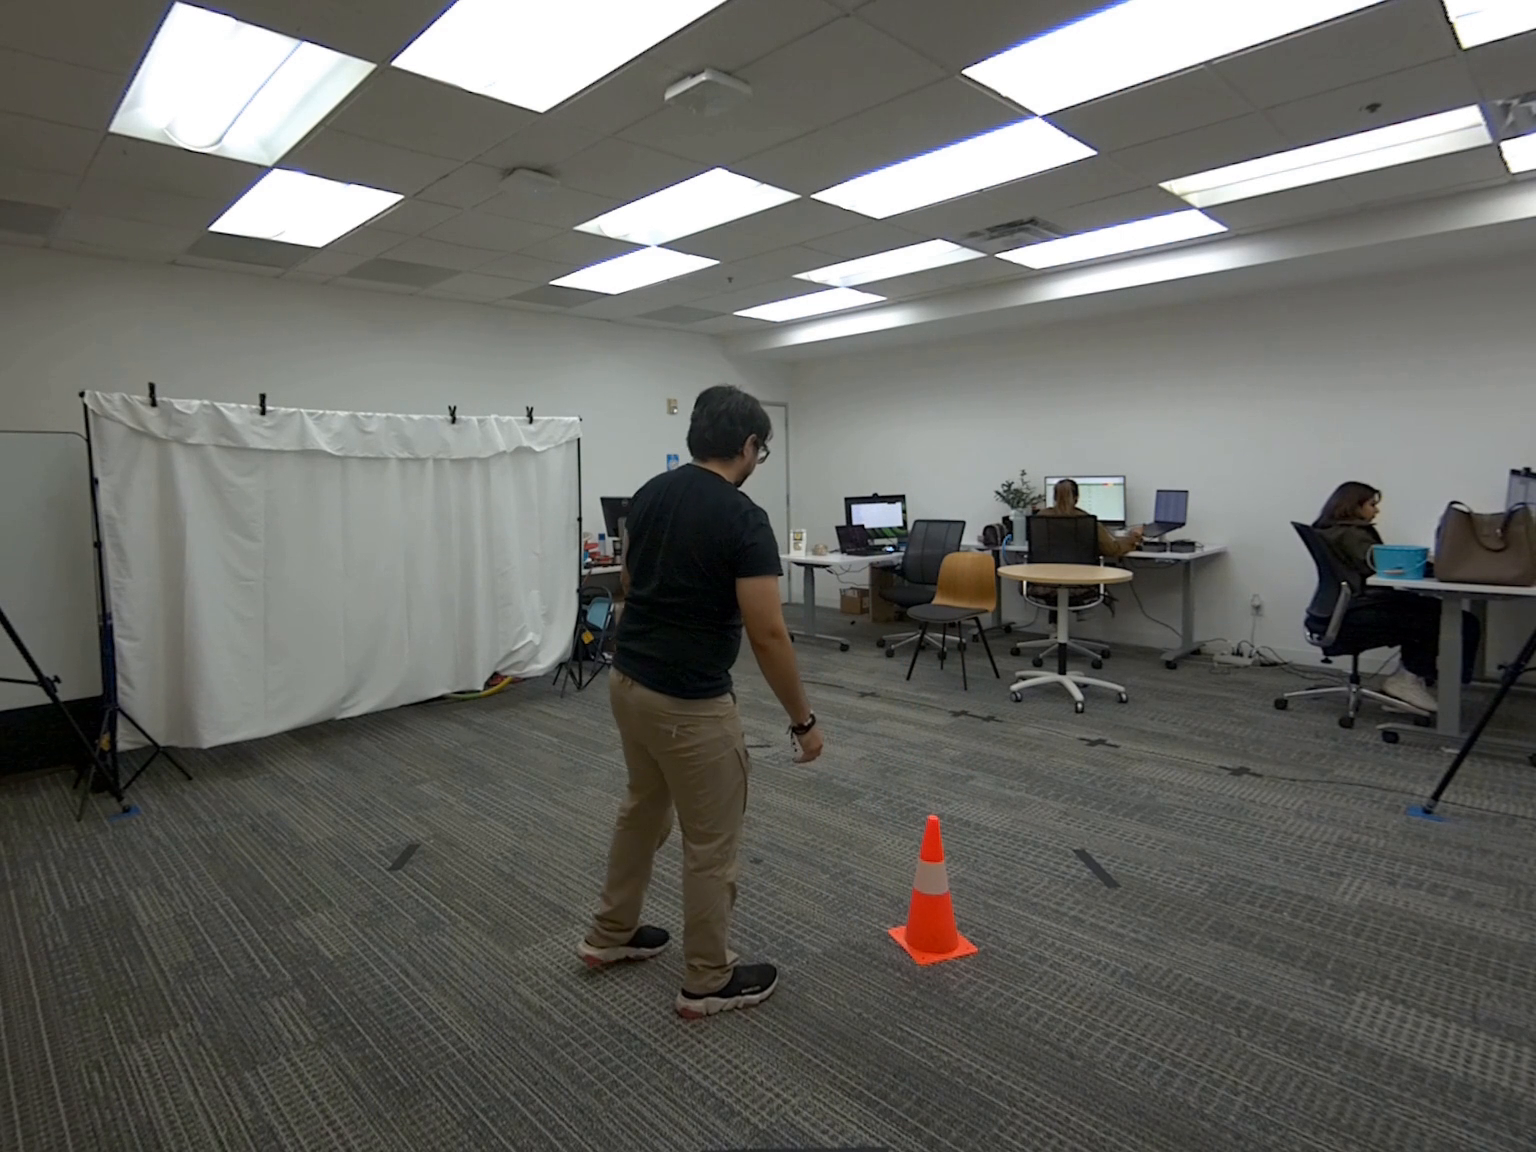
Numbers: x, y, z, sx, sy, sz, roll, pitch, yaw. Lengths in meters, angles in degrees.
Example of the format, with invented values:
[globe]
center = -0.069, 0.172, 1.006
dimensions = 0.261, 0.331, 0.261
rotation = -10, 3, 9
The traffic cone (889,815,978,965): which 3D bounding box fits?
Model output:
[traffic cone]
center = 0.491, 0.910, 2.537
dimensions = 0.202, 0.382, 0.207
rotation = -3, 5, -18
